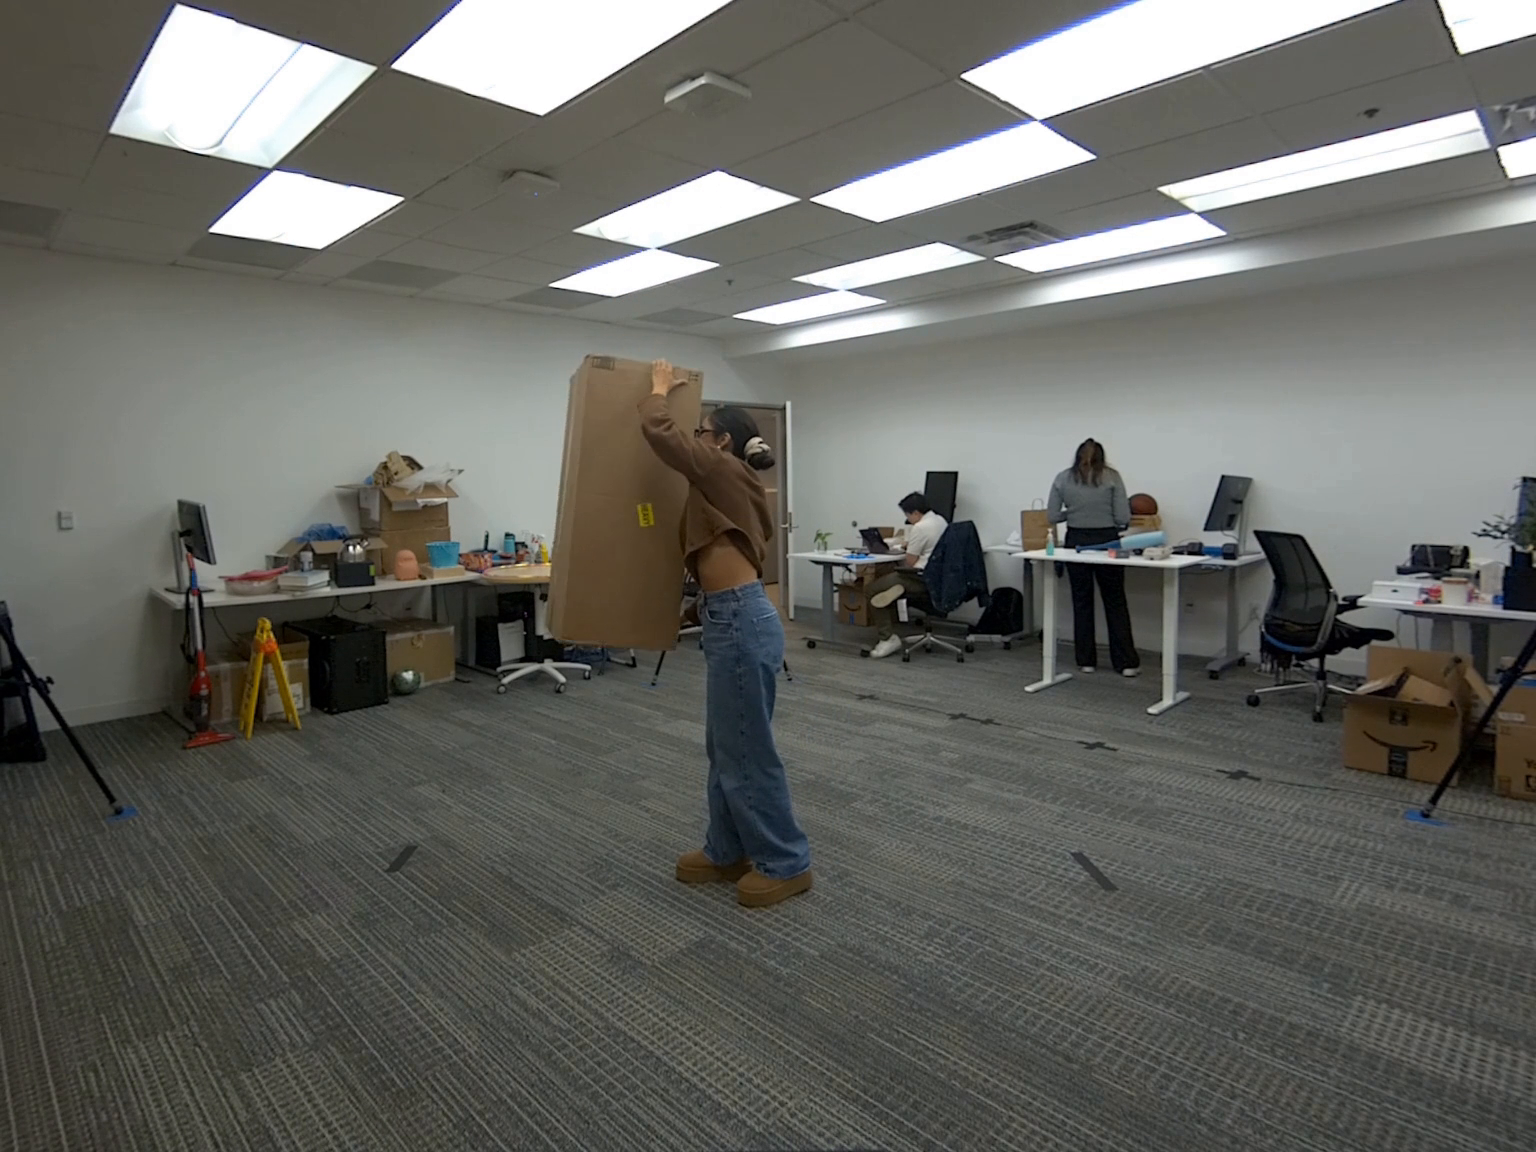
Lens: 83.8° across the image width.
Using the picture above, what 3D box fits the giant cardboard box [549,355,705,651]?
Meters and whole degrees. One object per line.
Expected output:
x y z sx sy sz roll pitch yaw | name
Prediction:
-0.575 -0.274 3.314 0.418 1.026 0.588 6 0 -19 | giant cardboard box
